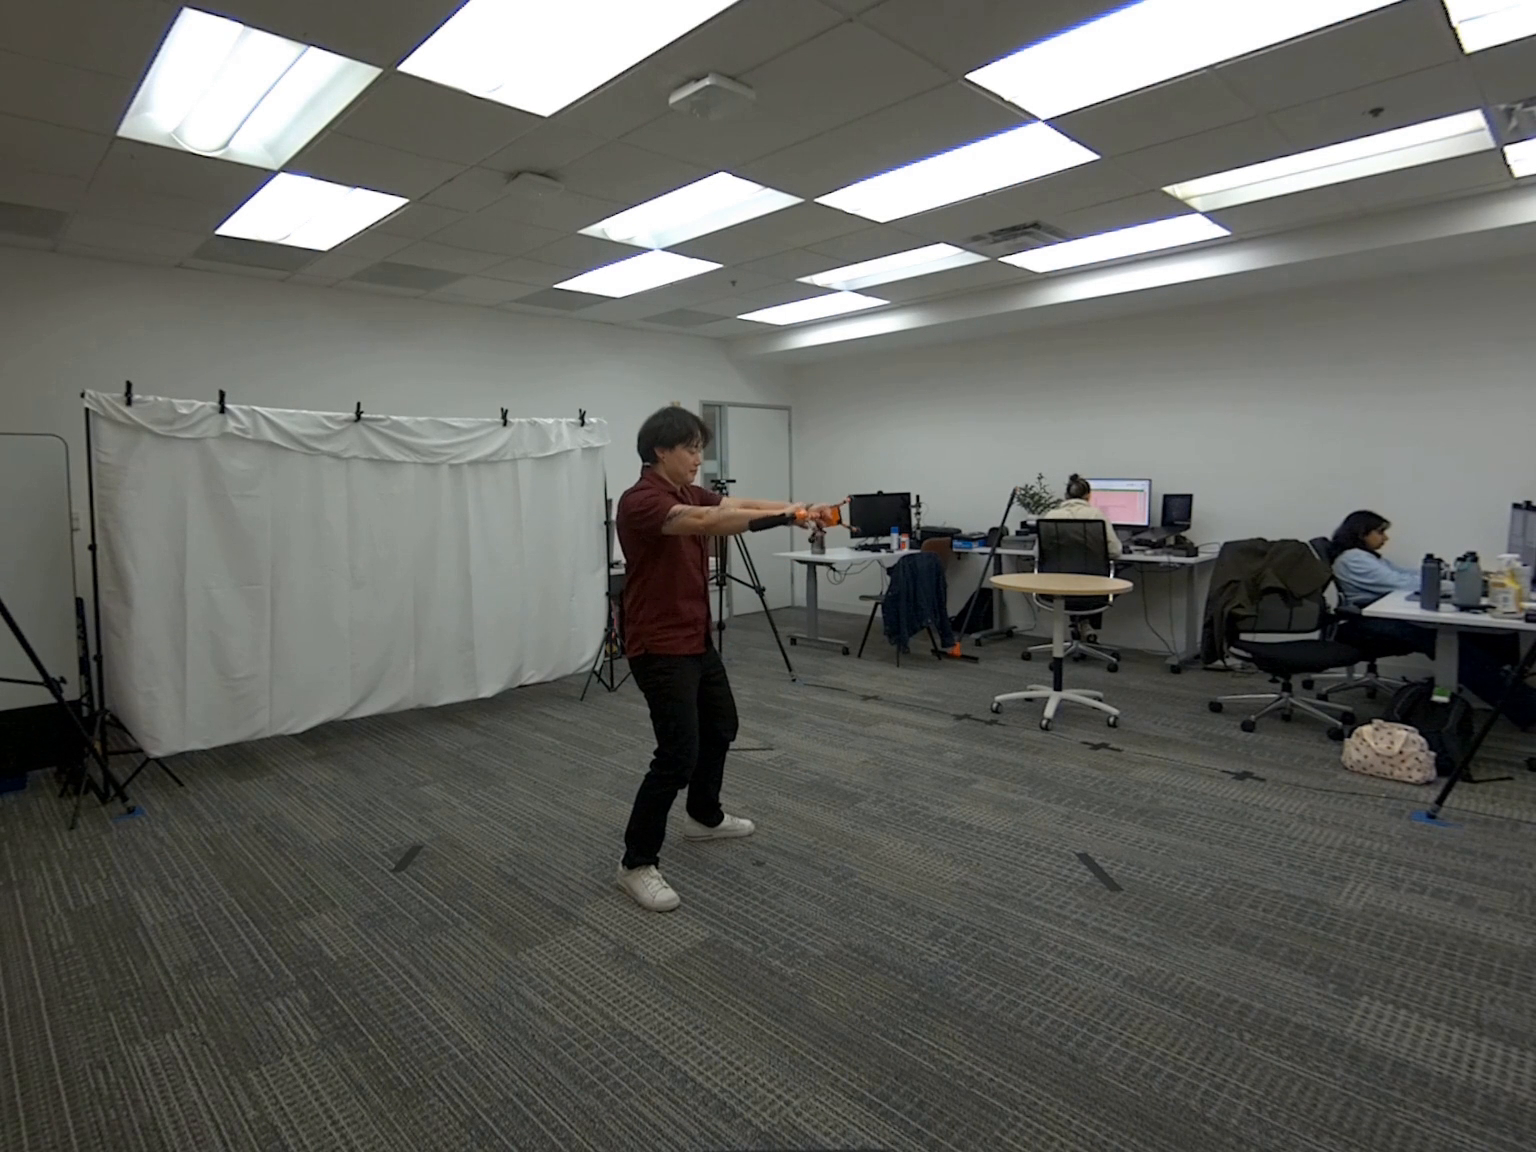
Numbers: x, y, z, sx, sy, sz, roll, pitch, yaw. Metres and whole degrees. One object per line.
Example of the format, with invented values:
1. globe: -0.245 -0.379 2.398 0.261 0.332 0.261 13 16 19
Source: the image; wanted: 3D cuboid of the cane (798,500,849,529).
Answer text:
1. cane: 0.139 -0.172 2.831 0.209 0.151 0.898 -12 1 13
